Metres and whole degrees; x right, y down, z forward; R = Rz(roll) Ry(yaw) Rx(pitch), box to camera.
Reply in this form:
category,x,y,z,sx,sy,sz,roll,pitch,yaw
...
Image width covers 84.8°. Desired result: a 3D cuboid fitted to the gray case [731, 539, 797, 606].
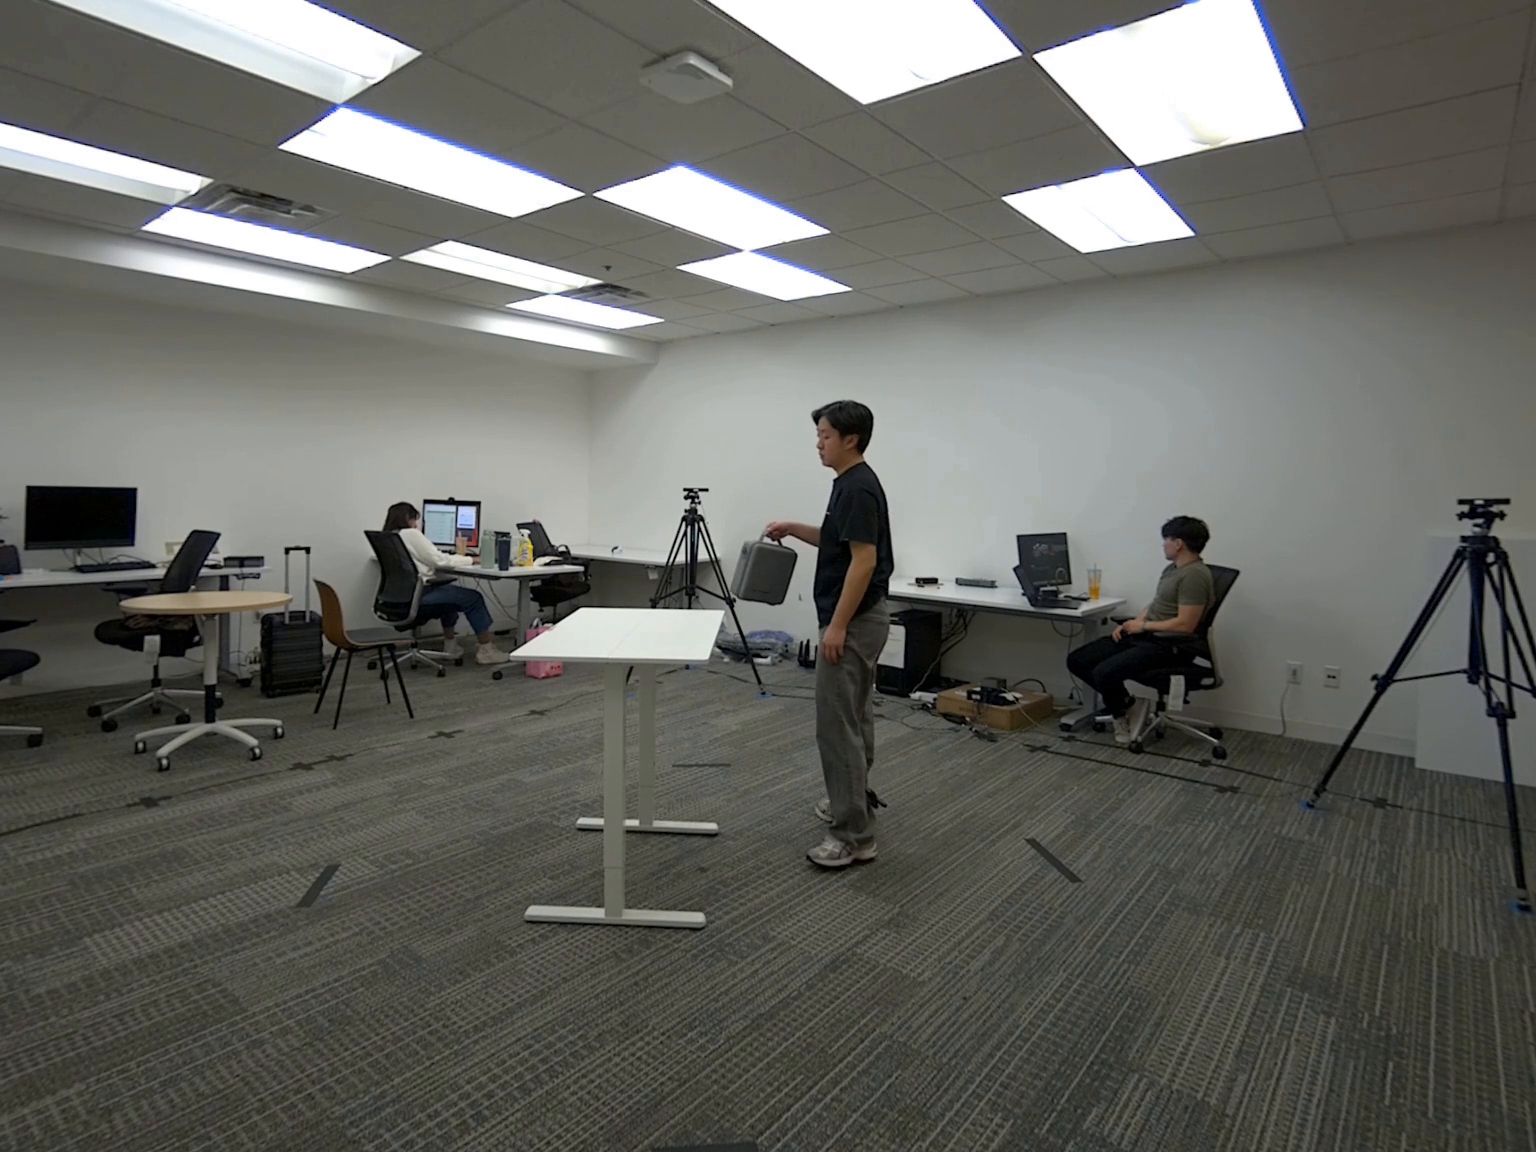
category,x,y,z,sx,sy,sz,roll,pitch,yaw
gray case,-0.023,-0.026,3.642,0.254,0.286,0.107,12,9,-37
